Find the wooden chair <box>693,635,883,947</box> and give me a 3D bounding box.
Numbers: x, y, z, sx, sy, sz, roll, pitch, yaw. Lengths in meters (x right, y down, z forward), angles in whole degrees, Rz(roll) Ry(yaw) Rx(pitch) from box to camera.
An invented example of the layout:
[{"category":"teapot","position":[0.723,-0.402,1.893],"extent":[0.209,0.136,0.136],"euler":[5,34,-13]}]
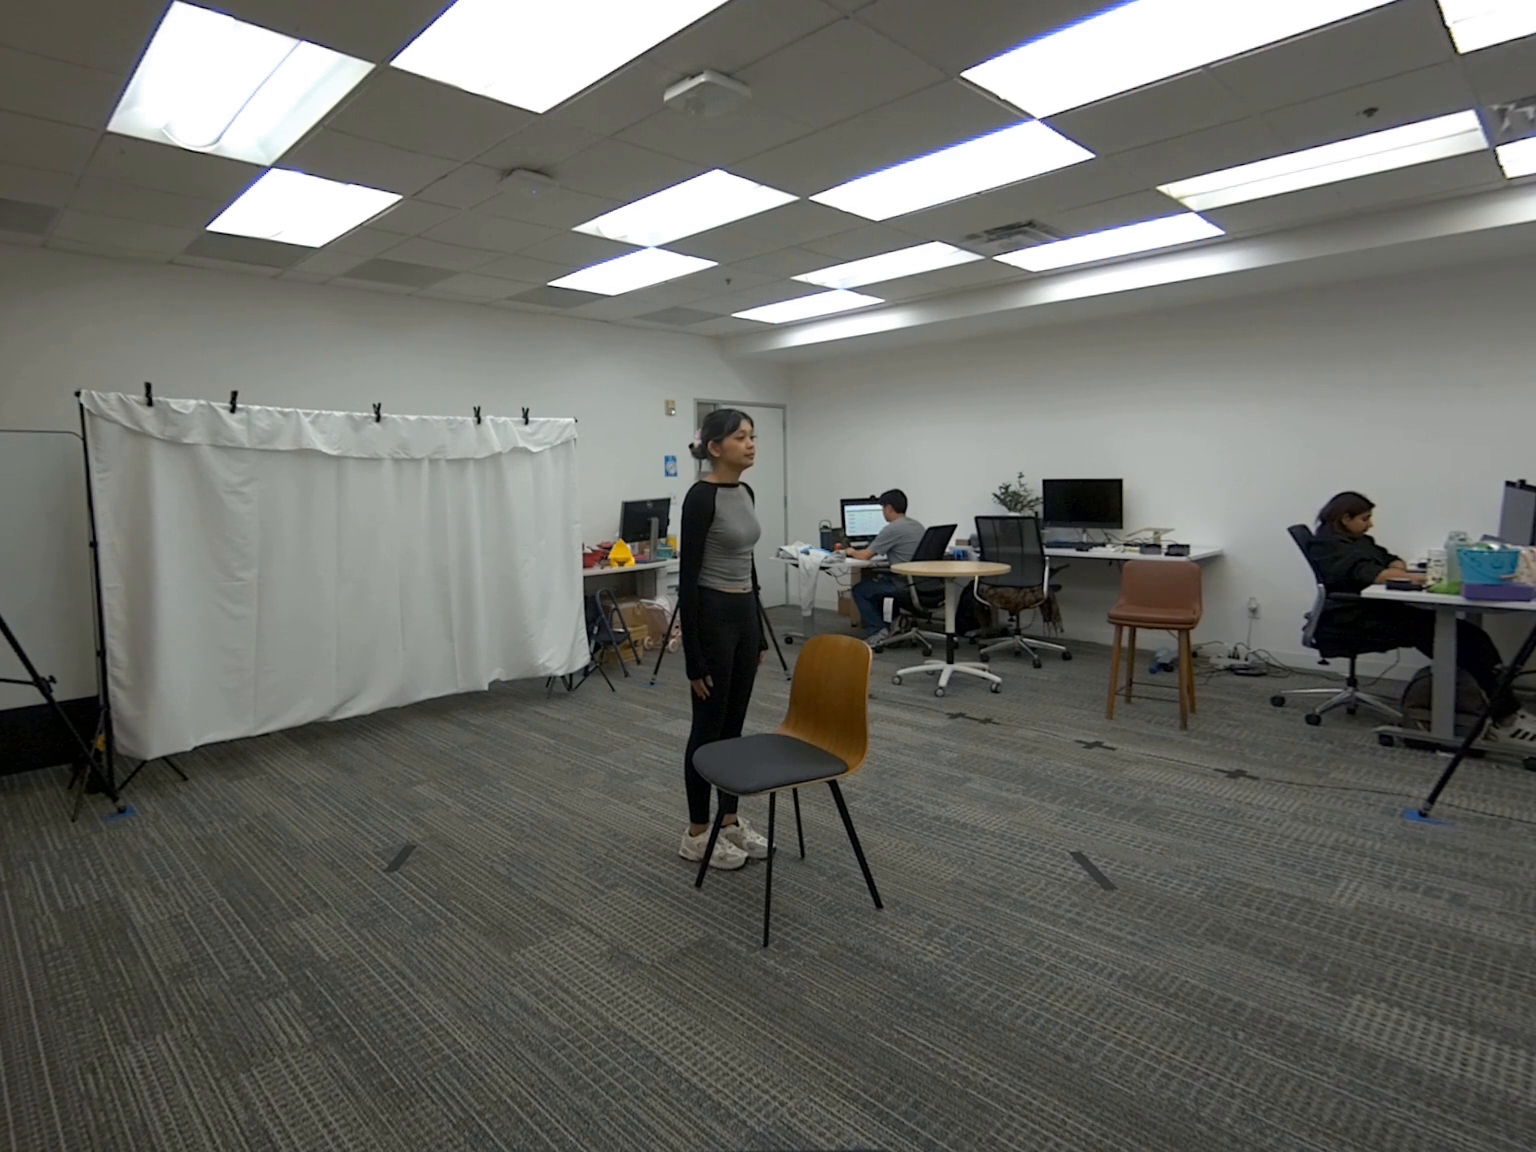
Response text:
[{"category":"wooden chair","position":[0.053,0.648,2.801],"extent":[0.509,0.876,0.492],"euler":[1,3,-32]}]
